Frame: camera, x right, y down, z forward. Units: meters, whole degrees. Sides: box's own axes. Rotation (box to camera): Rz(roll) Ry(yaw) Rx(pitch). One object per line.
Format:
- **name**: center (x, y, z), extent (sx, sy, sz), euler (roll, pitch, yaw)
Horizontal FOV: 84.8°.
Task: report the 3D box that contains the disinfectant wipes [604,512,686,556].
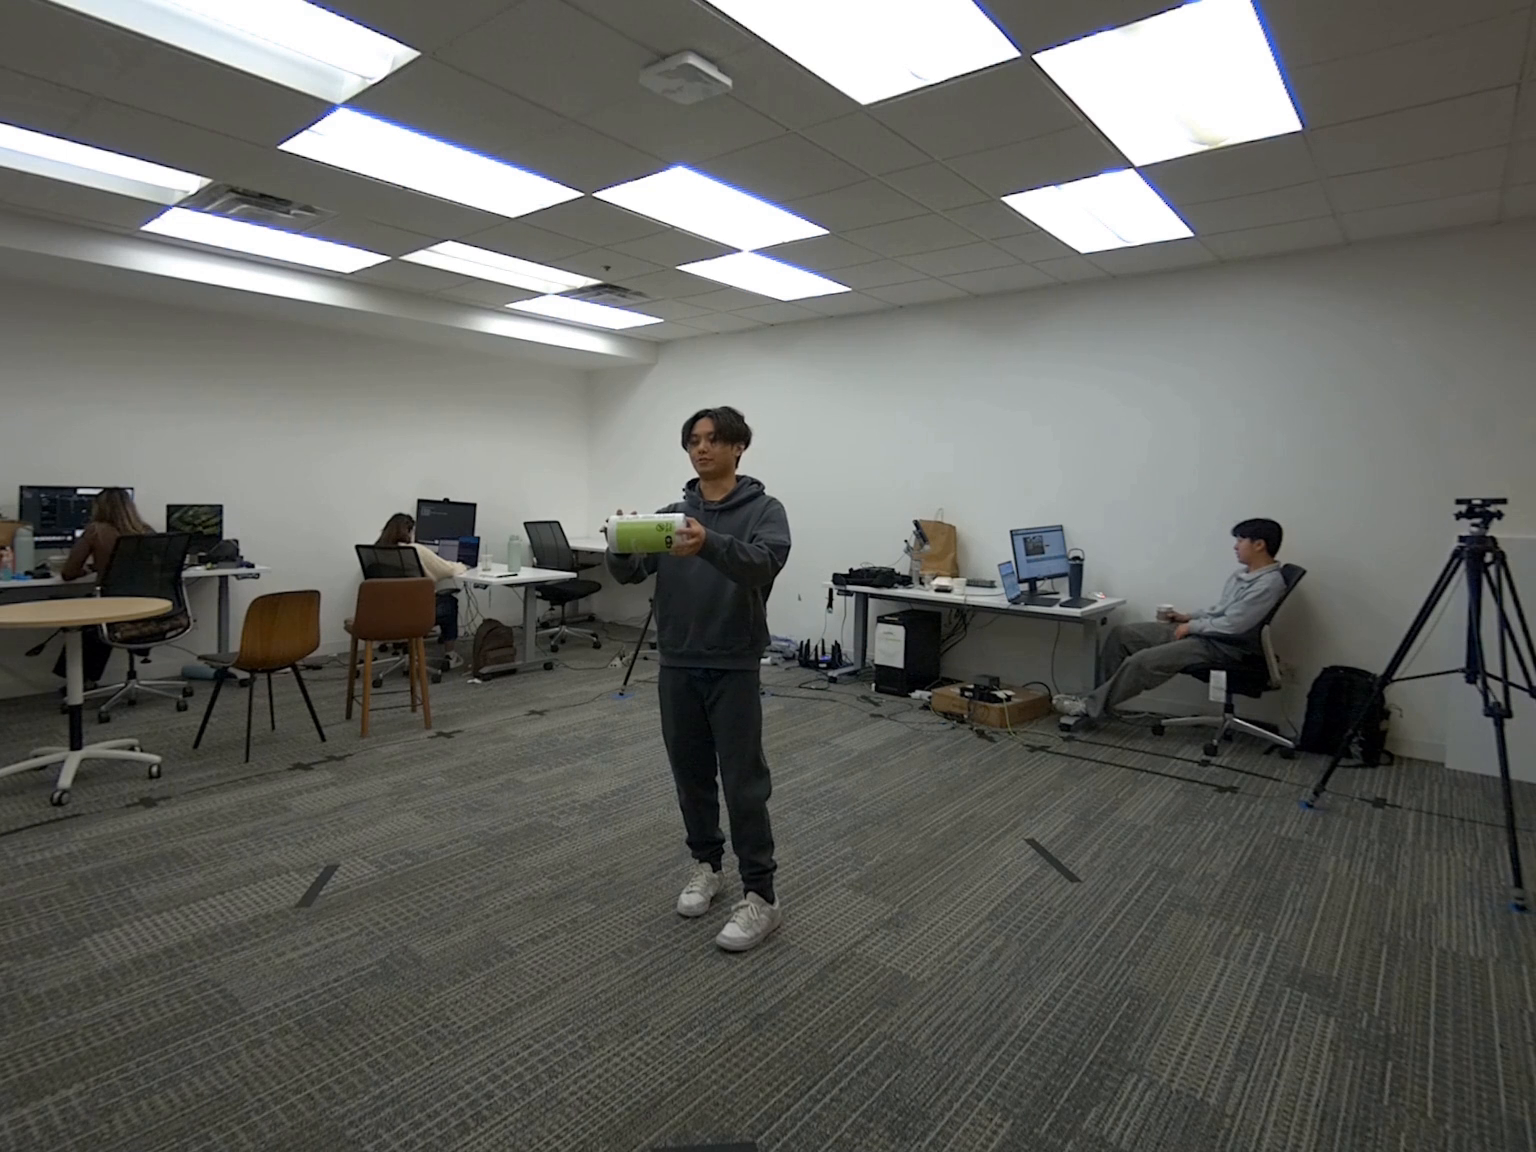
- **disinfectant wipes**: center (-0.343, -0.125, 2.423), extent (0.218, 0.117, 0.118), euler (-1, 4, 3)
